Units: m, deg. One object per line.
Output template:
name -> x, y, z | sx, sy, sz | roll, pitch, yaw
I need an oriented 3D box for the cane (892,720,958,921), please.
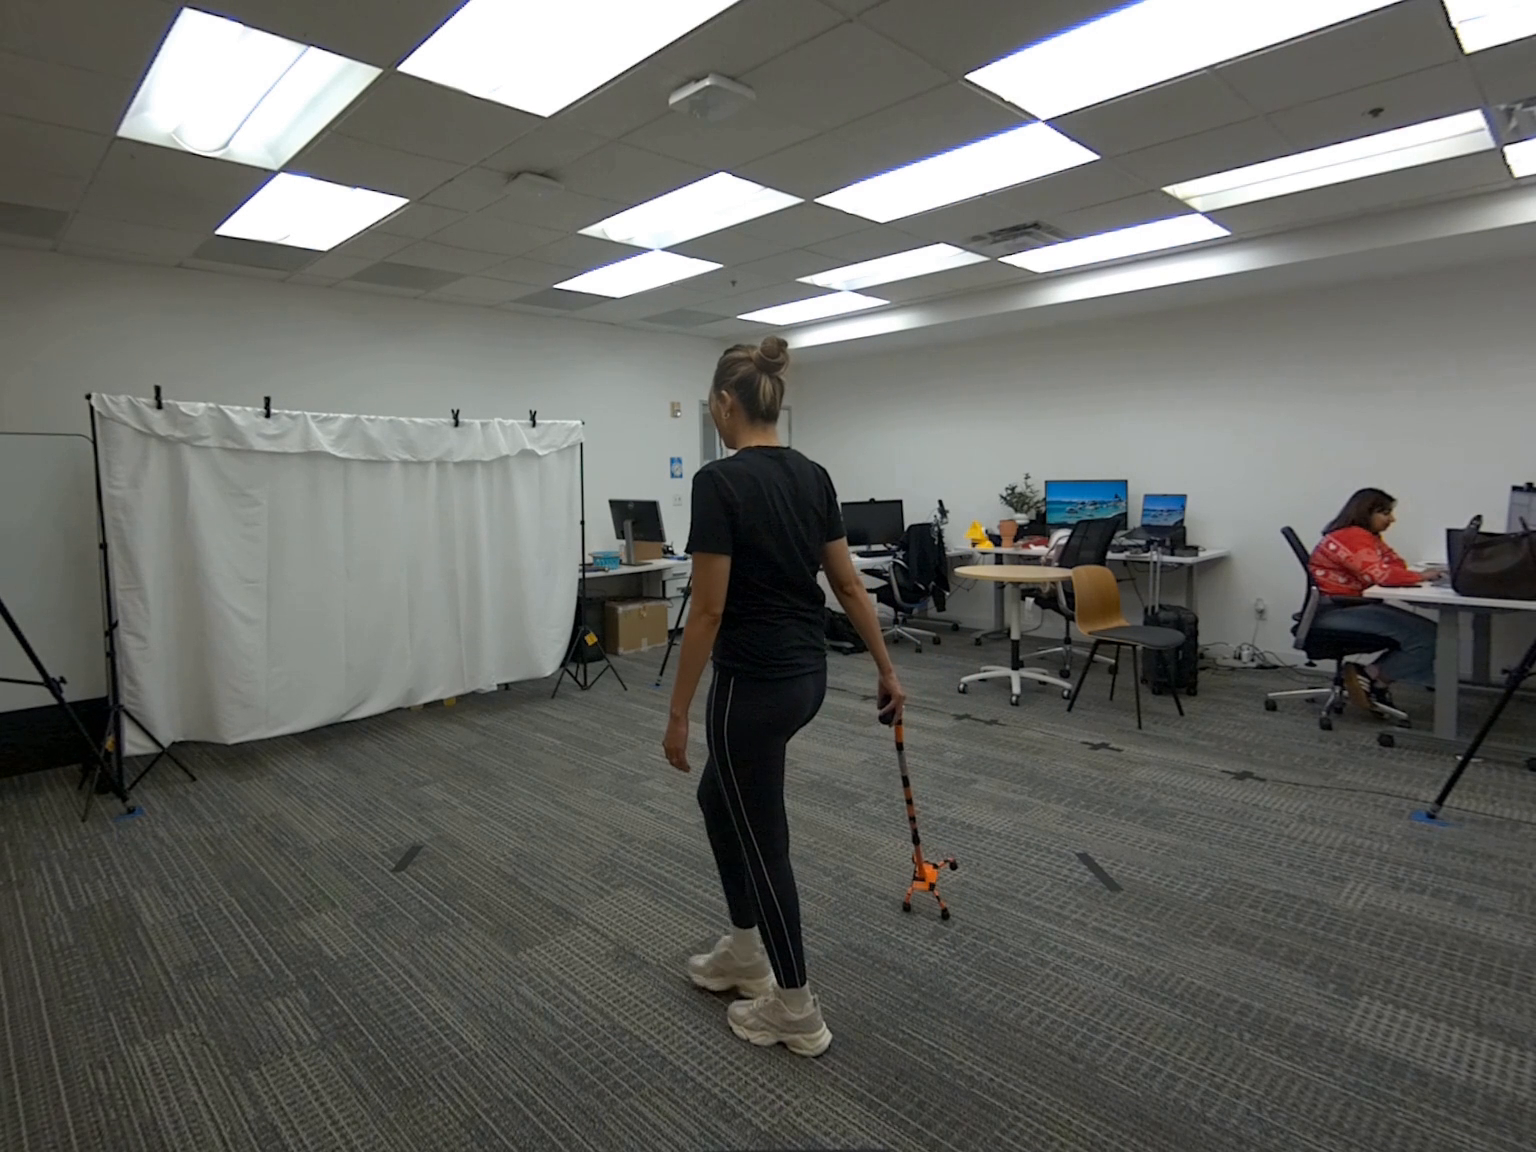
cane -> 0.442, 0.665, 2.555 | 0.155, 0.880, 0.208 | 1, 37, 22
